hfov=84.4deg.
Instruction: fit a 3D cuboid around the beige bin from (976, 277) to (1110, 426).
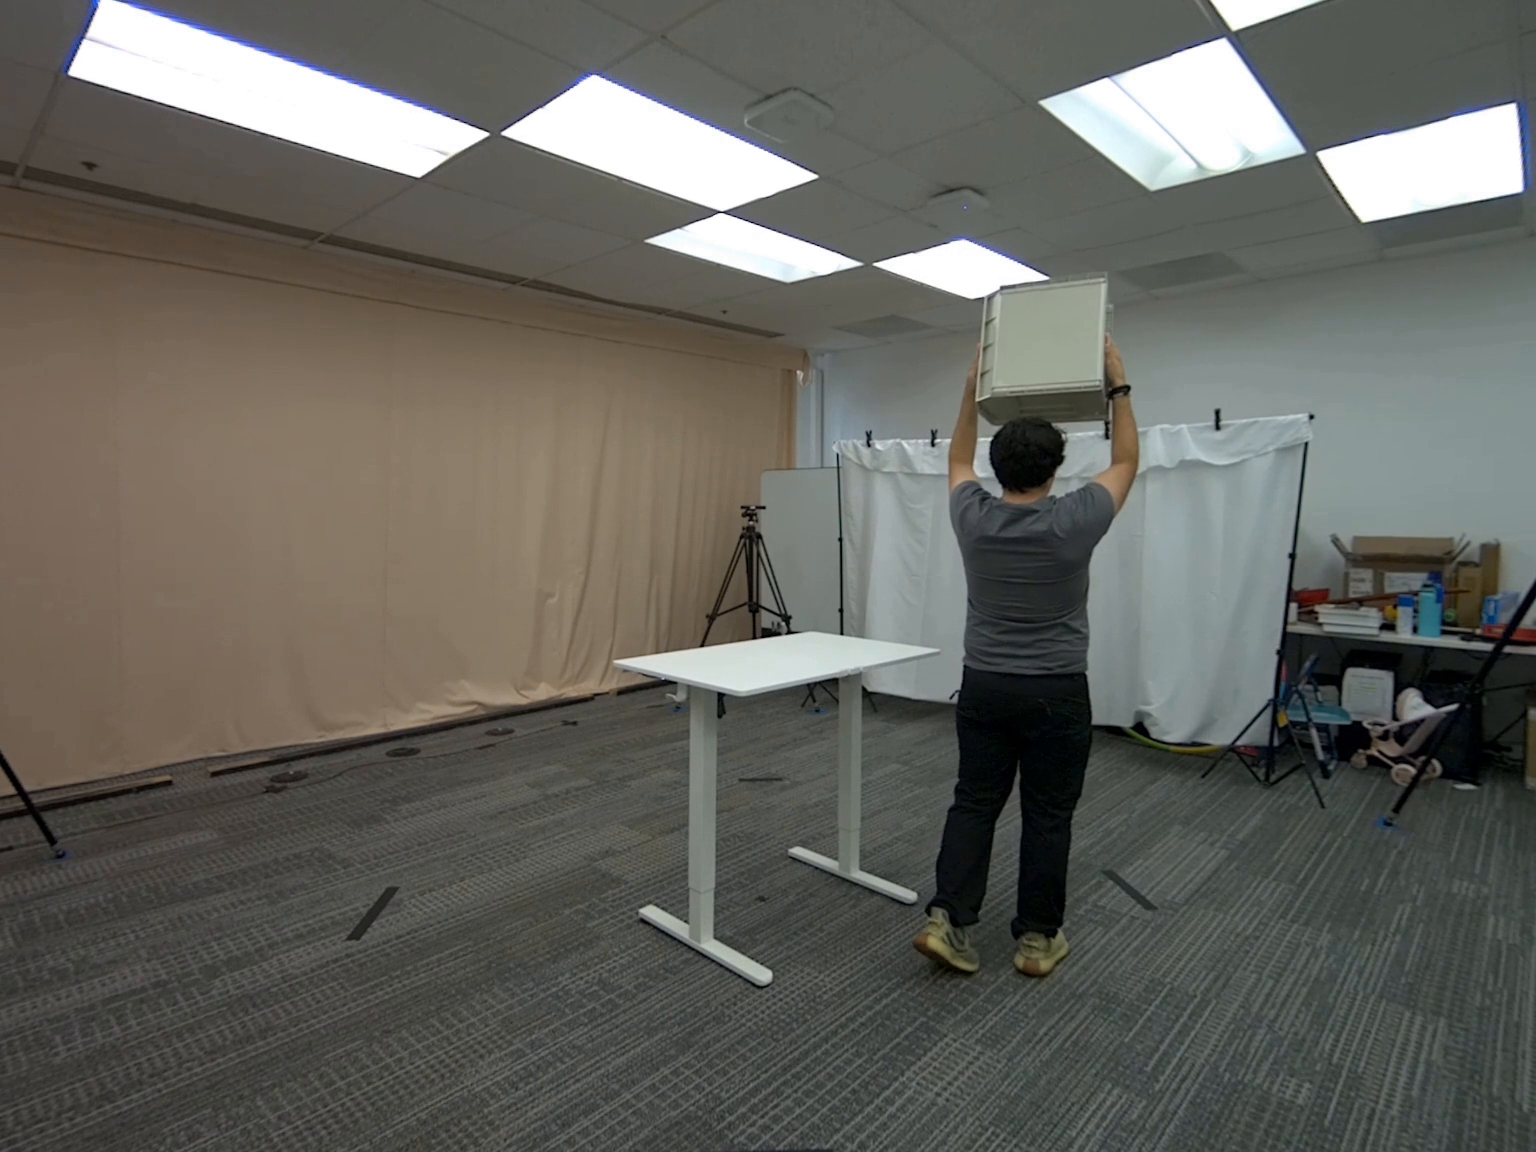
[{"bbox_3d":[0.885,-0.709,2.662,0.388,0.425,0.182,1,-20,28],"label":"beige bin"}]
